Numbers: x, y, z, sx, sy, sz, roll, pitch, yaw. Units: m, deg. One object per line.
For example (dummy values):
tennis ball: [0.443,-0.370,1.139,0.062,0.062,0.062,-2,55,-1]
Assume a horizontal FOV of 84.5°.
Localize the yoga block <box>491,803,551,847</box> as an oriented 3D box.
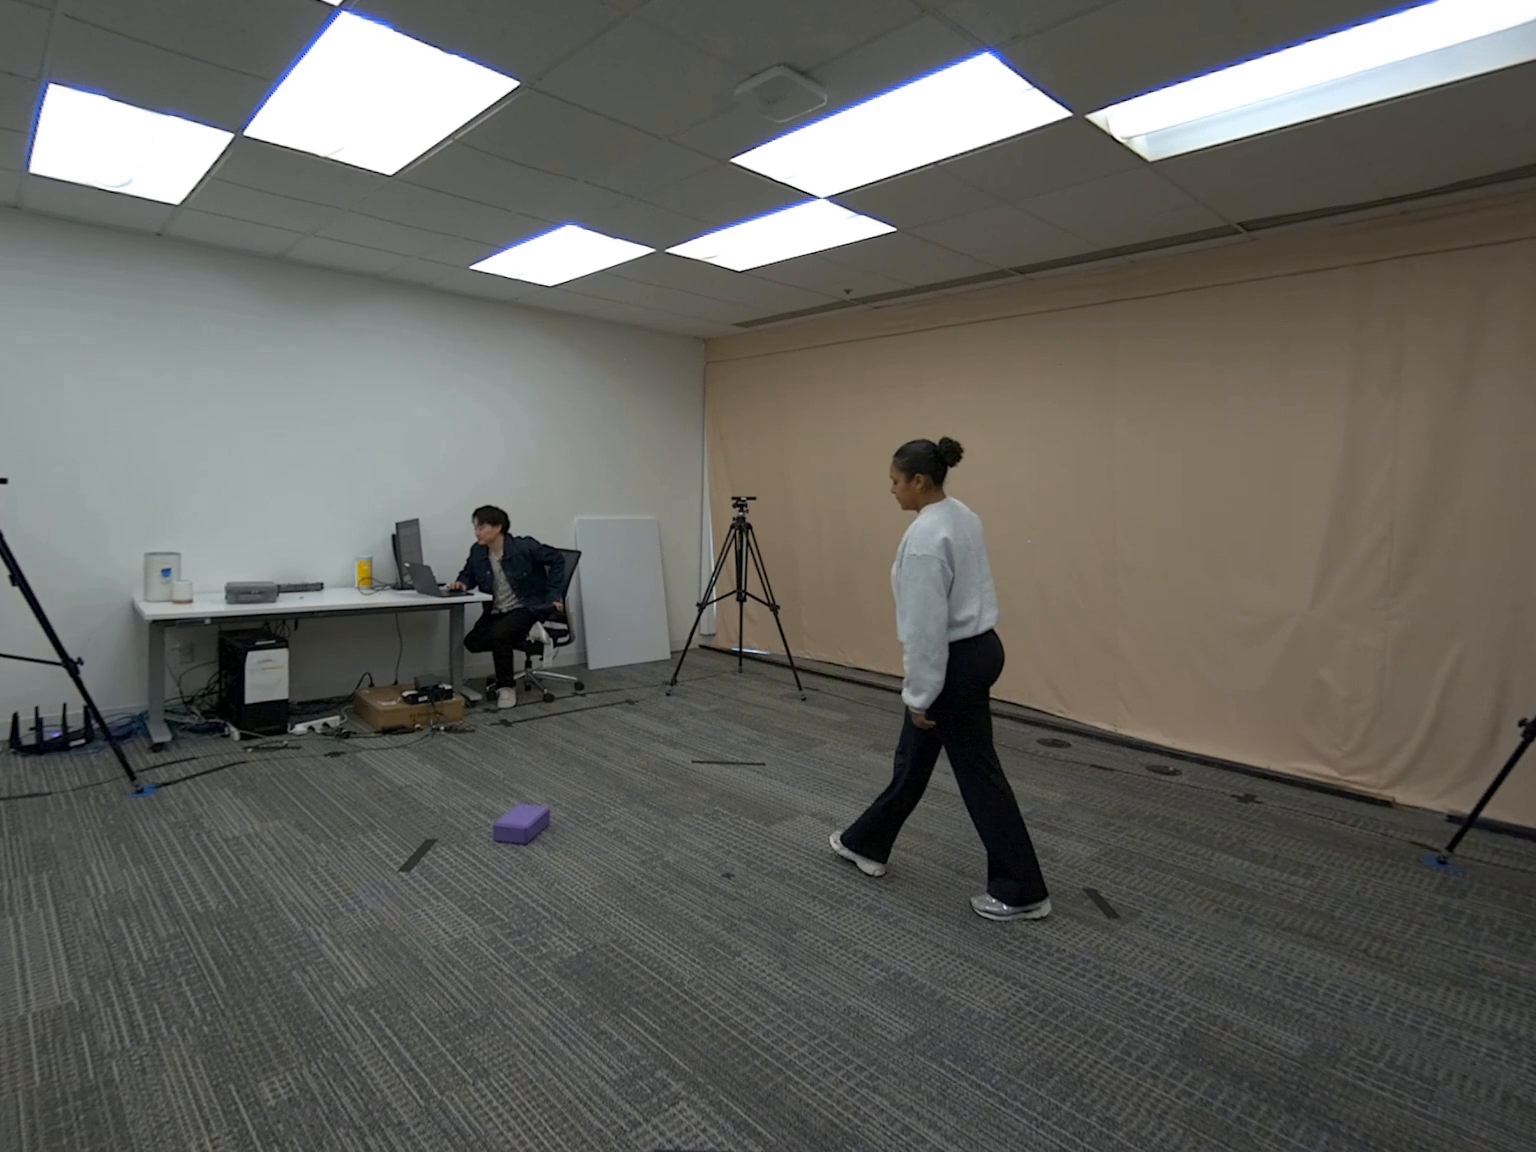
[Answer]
yoga block: [-1.010,1.012,3.450,0.150,0.076,0.228,4,5,10]
